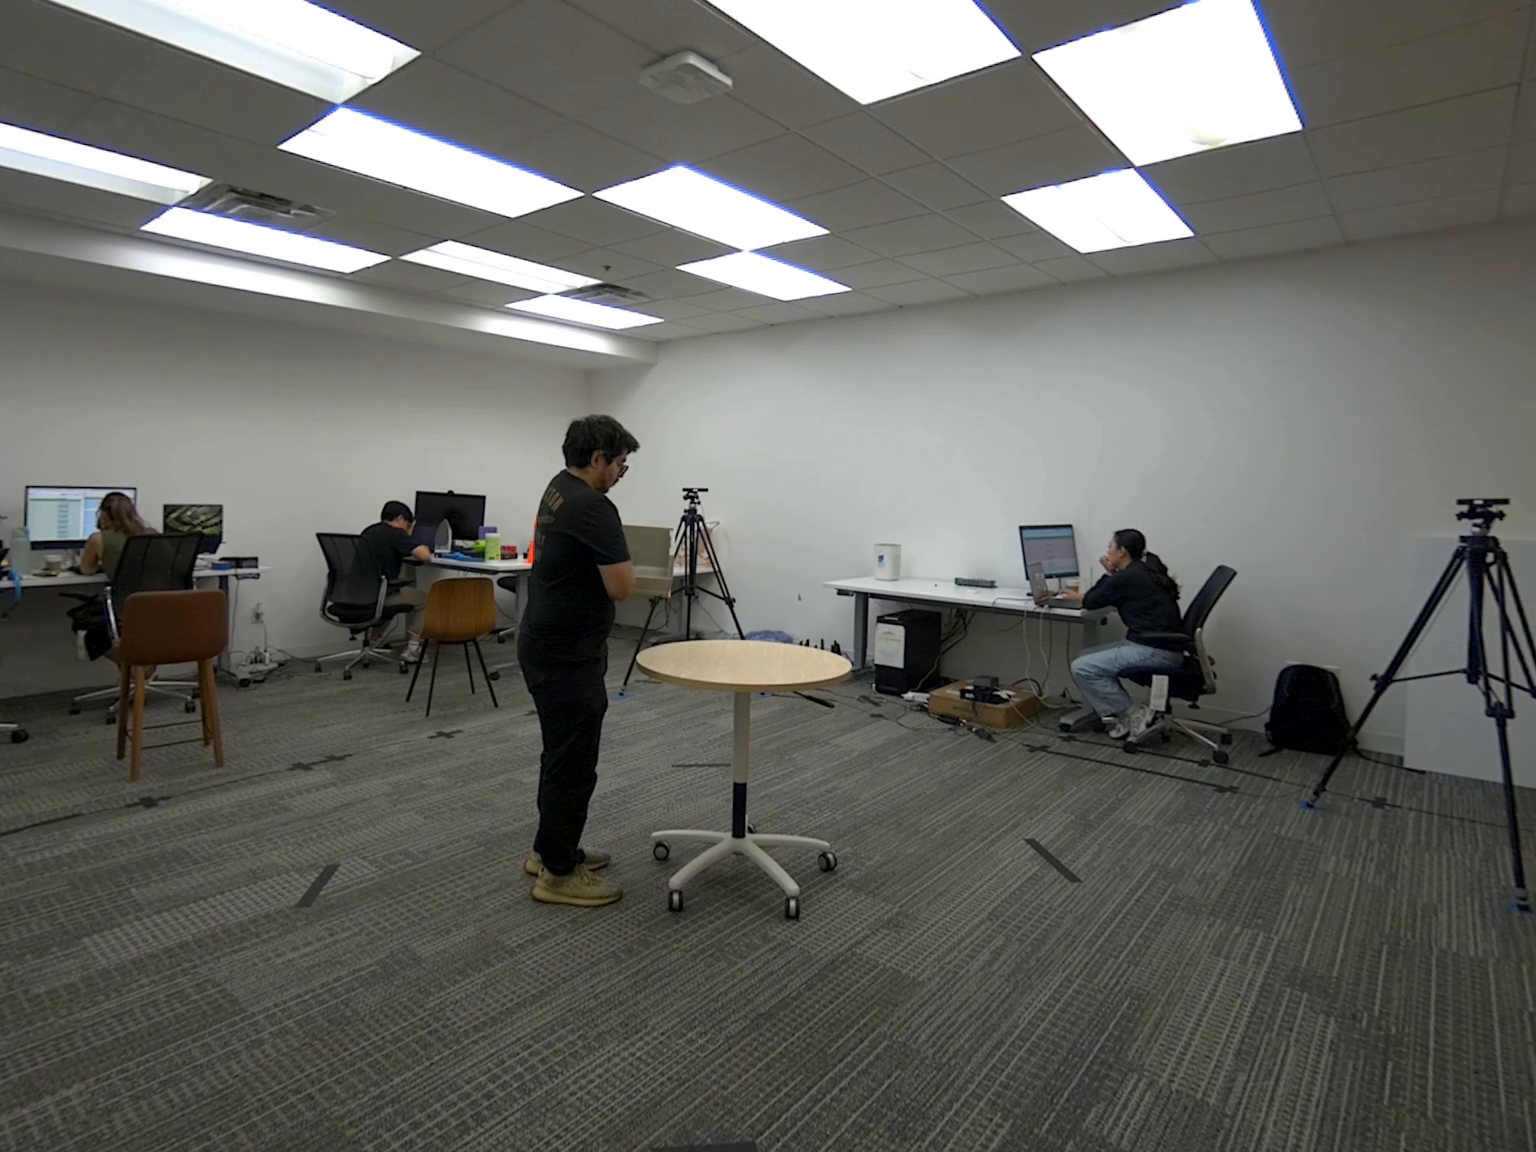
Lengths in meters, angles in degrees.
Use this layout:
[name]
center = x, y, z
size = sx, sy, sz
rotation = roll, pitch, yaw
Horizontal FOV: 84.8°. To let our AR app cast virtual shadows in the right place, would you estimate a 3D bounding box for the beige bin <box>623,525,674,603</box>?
[beige bin]
center = -0.572, -0.061, 3.207
size = 0.420, 0.187, 0.384
rotation = 3, 15, -6
